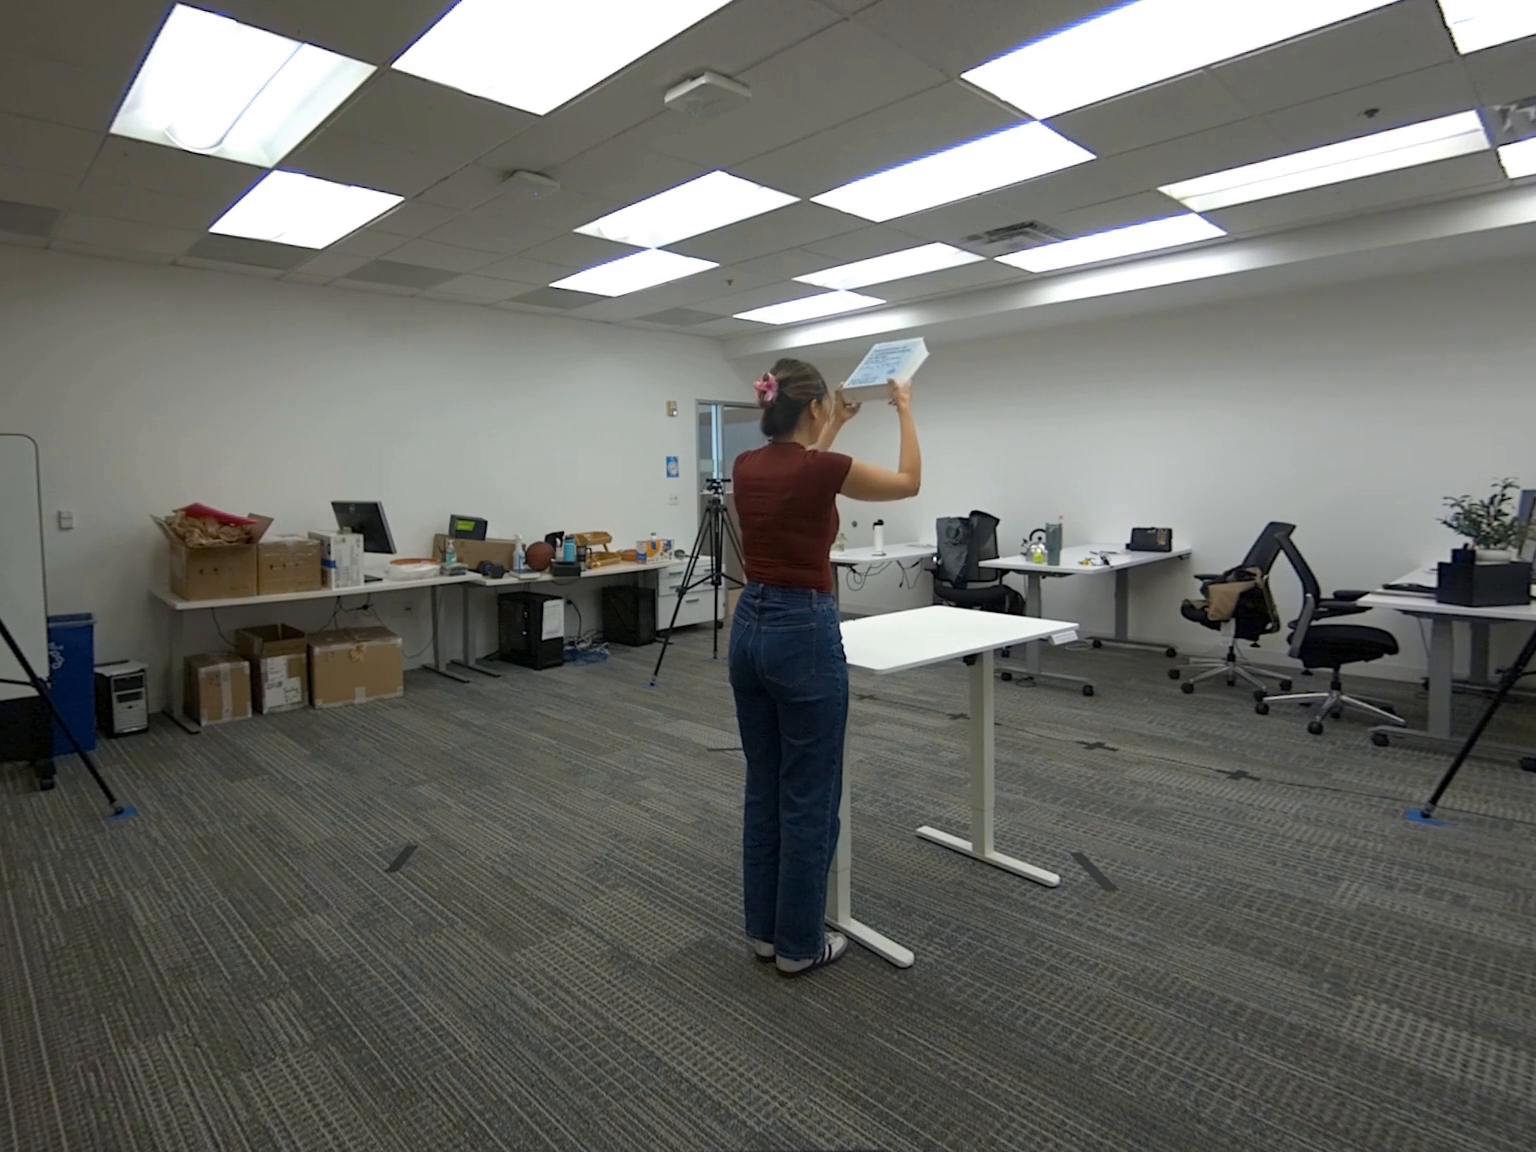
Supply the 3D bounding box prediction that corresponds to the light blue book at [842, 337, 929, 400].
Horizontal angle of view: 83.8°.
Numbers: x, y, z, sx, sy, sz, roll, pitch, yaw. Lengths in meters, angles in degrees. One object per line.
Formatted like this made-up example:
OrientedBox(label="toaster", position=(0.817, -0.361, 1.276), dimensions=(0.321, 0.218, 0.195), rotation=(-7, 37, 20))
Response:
OrientedBox(label="light blue book", position=(0.376, -0.651, 2.718), dimensions=(0.197, 0.057, 0.262), rotation=(3, 44, 41))
